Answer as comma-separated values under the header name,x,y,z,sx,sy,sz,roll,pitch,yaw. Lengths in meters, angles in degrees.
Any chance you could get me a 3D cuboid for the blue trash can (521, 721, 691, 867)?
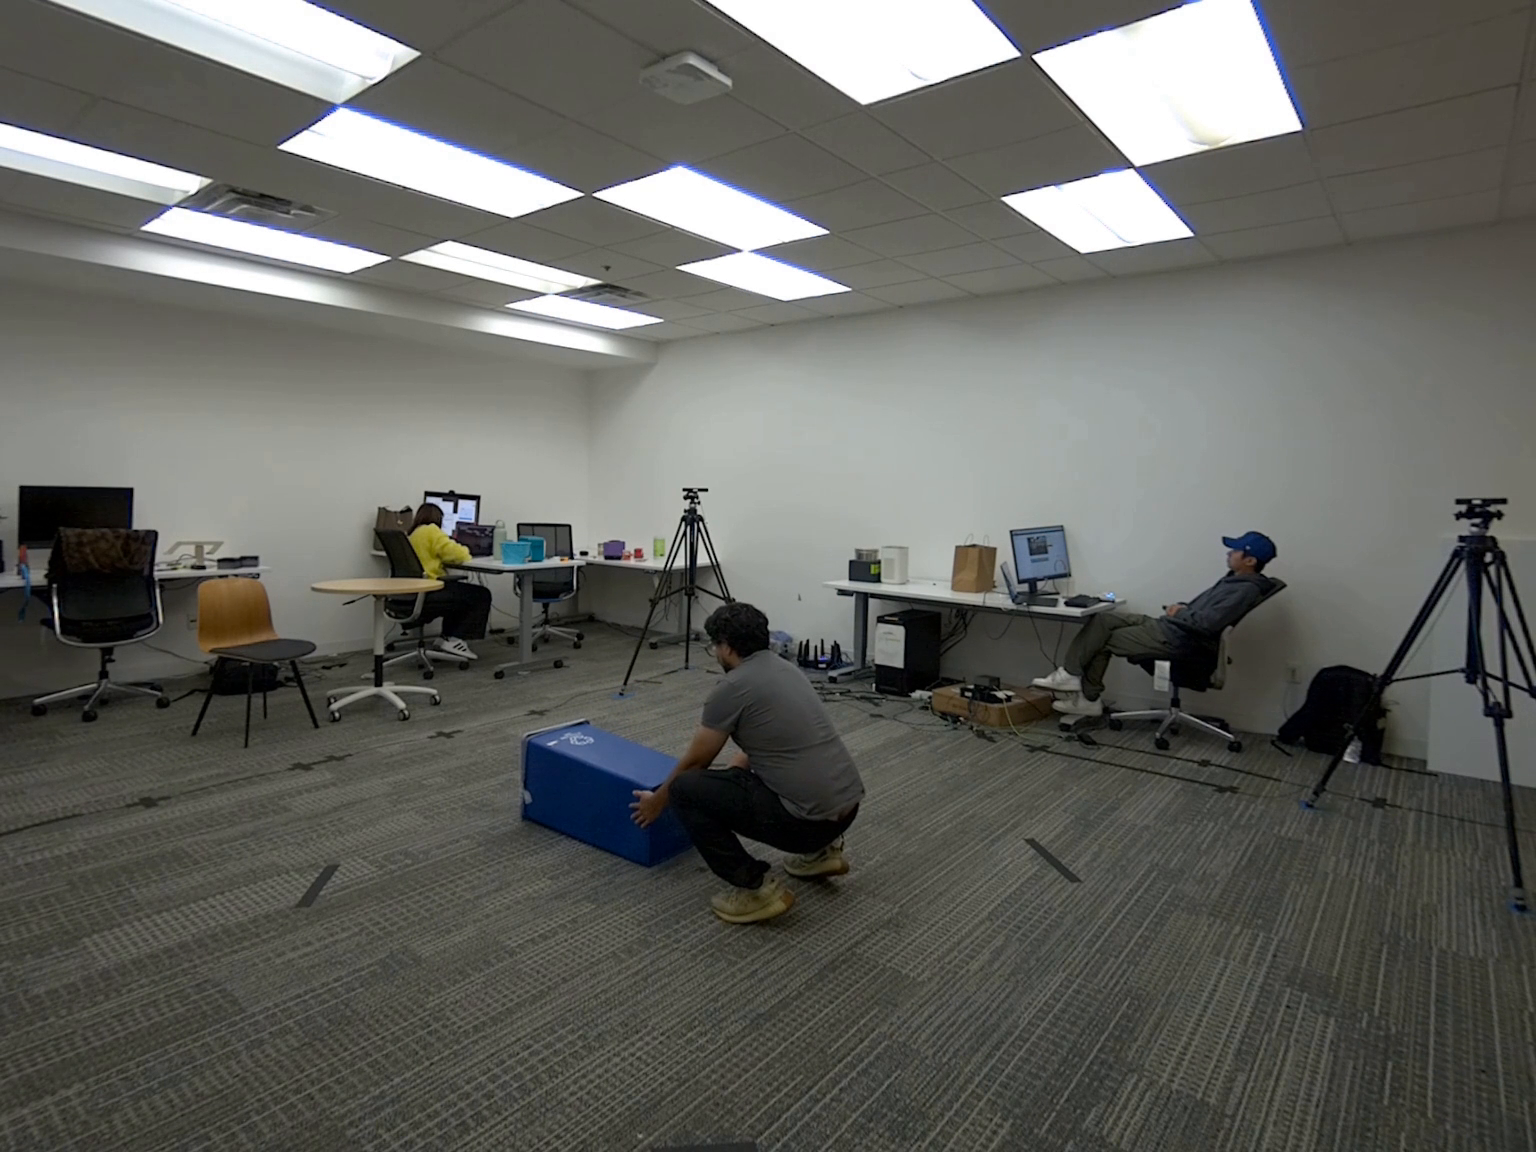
name,x,y,z,sx,sy,sz,roll,pitch,yaw
blue trash can,-0.641,0.865,3.433,0.738,0.376,0.363,8,7,37
